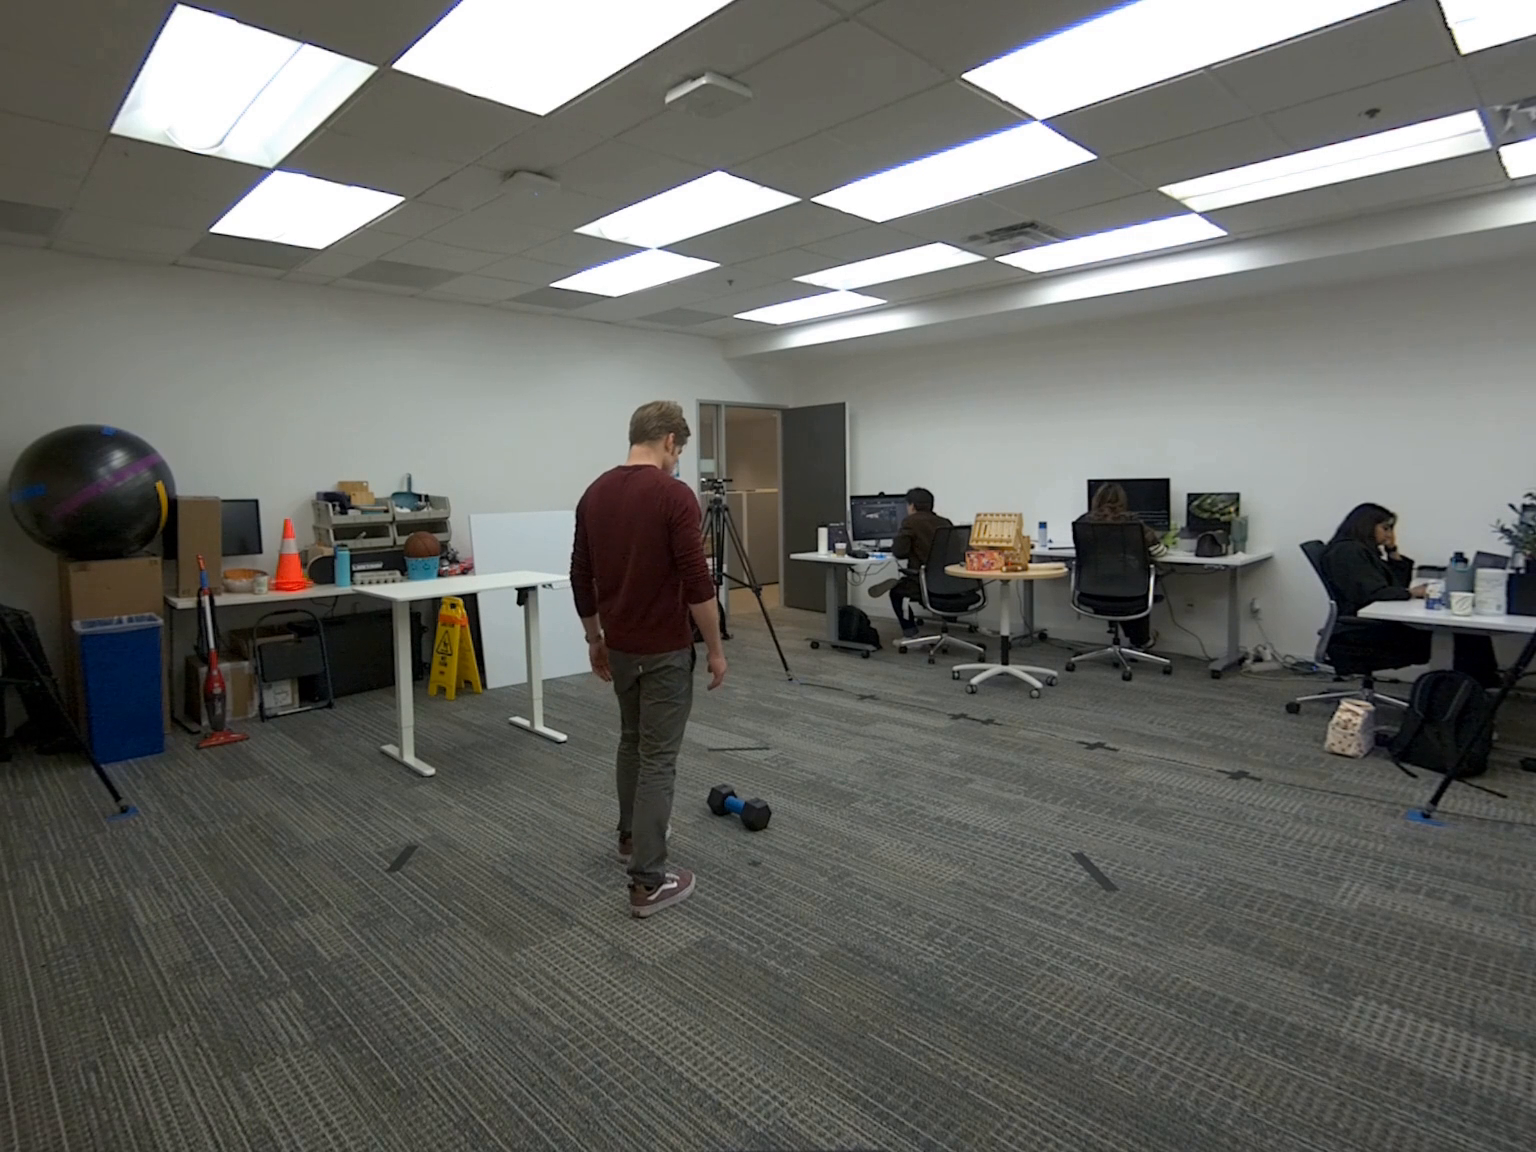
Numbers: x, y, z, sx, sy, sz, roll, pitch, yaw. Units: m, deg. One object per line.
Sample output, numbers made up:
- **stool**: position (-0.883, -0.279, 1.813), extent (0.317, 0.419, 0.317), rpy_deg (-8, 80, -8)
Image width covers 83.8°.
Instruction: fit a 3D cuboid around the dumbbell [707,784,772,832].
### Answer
- **dumbbell**: position (-0.118, 0.948, 3.506), extent (0.105, 0.124, 0.303), rpy_deg (34, -17, -37)
